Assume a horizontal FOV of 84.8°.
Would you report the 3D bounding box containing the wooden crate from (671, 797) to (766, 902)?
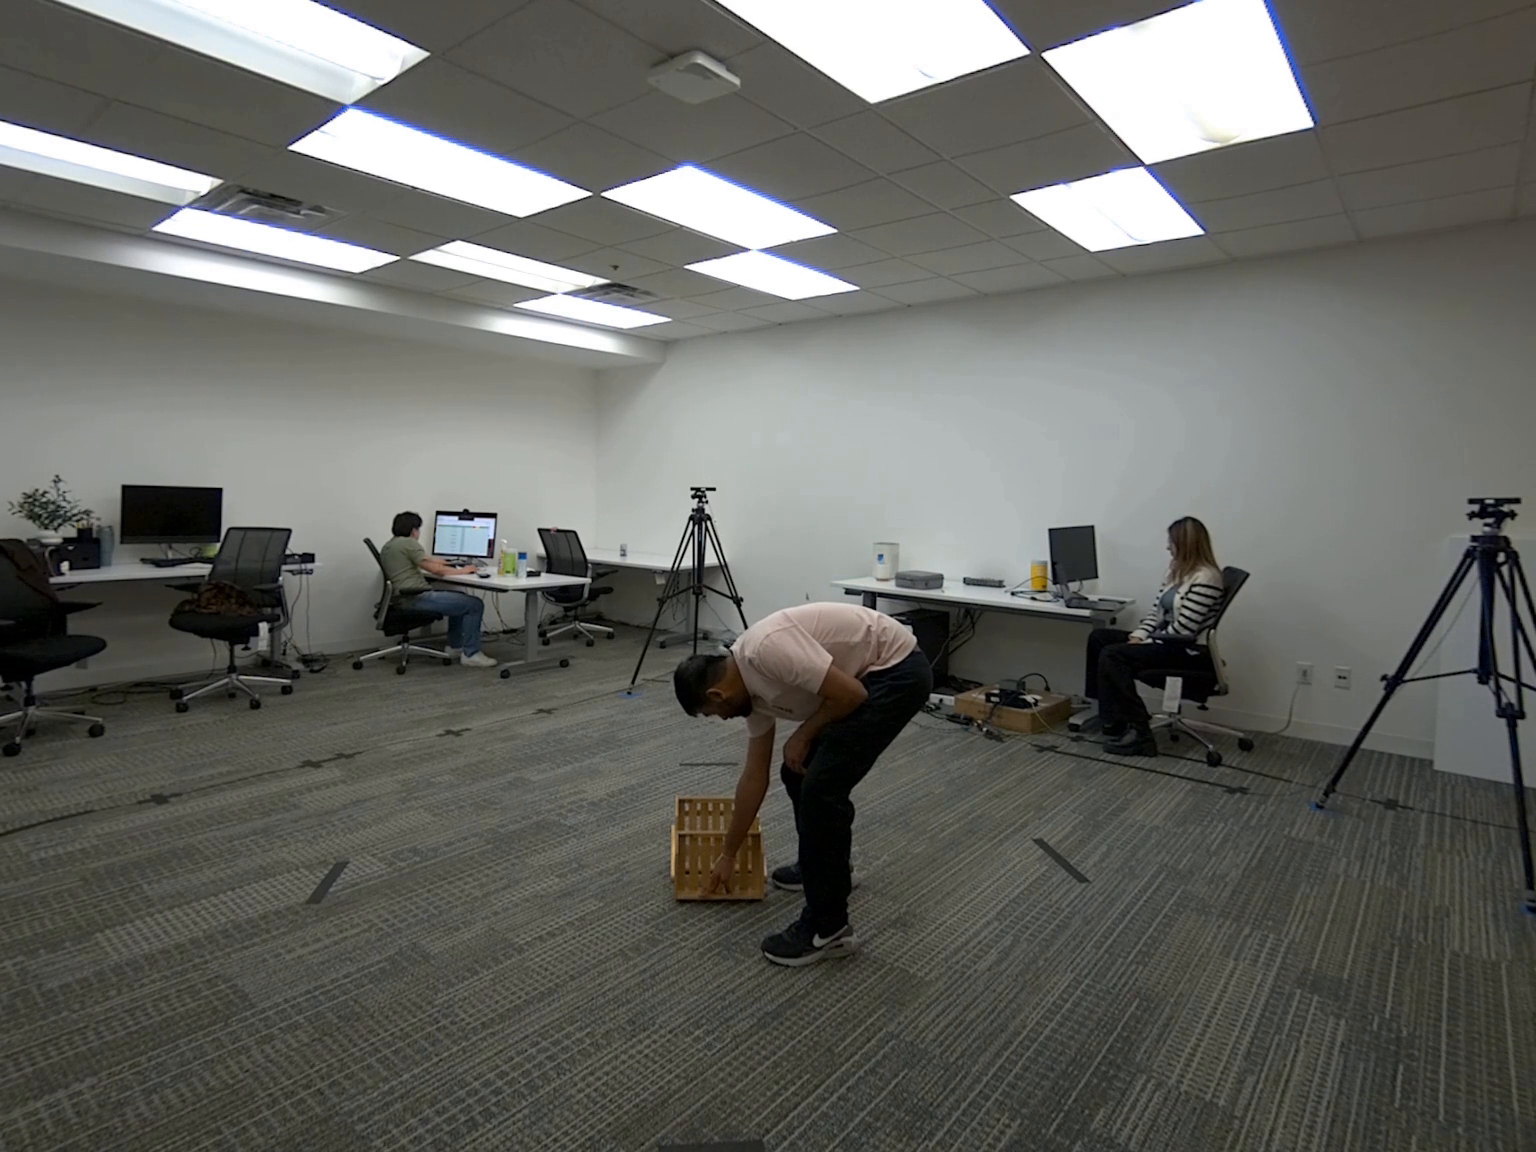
[{"bbox_3d":[-0.184,0.942,2.990,0.323,0.305,0.272,1,-10,-5],"label":"wooden crate"}]
